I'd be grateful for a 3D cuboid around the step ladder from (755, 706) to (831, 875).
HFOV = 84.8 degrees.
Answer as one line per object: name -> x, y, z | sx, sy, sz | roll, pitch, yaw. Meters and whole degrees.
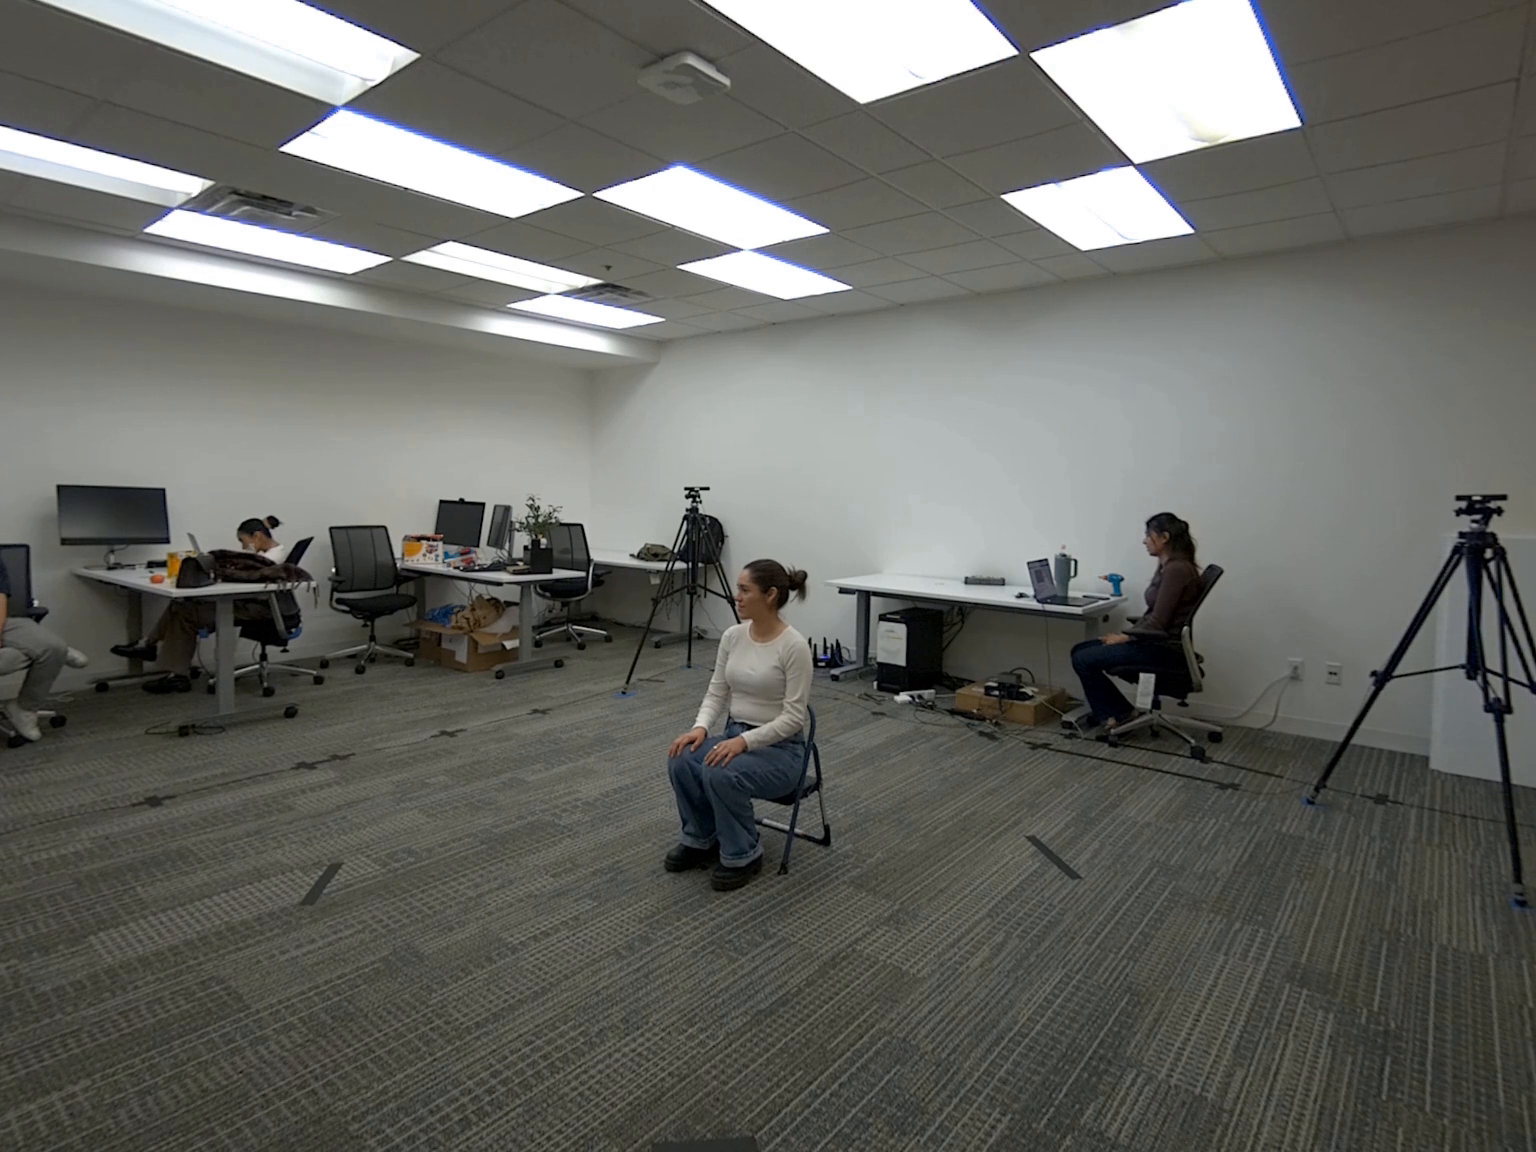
step ladder -> -0.014, 0.742, 3.317 | 0.445, 0.604, 0.339 | 4, 5, 37
